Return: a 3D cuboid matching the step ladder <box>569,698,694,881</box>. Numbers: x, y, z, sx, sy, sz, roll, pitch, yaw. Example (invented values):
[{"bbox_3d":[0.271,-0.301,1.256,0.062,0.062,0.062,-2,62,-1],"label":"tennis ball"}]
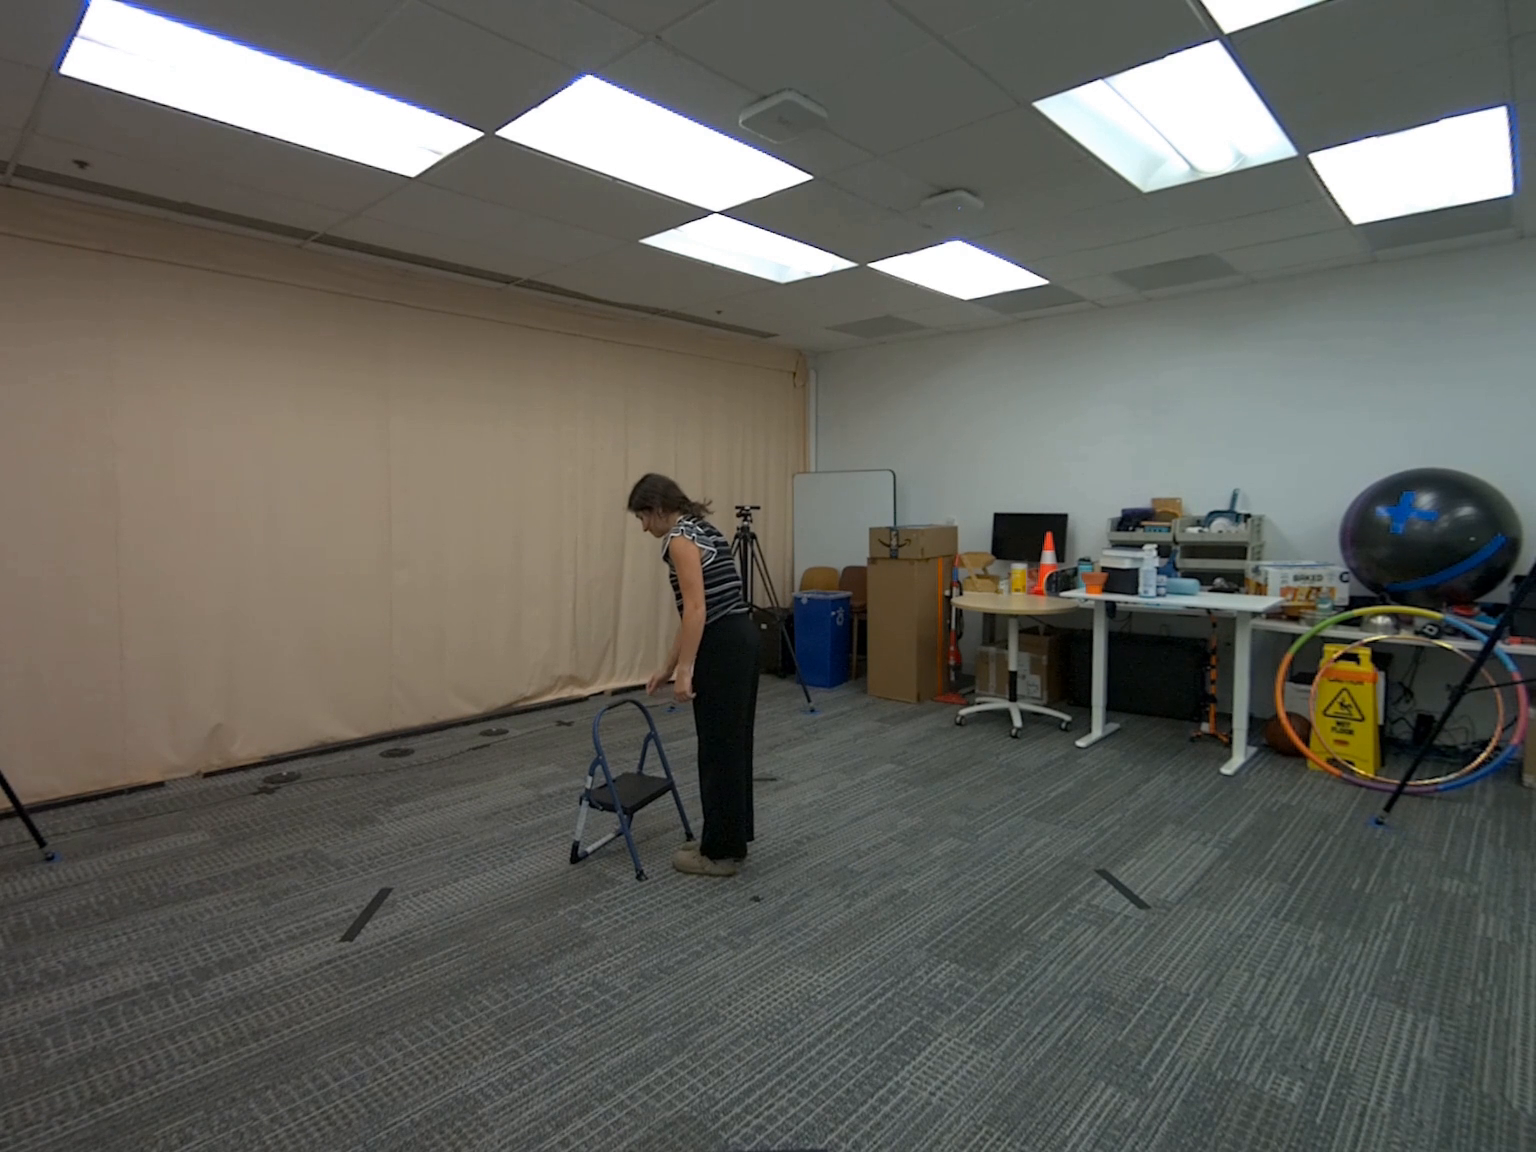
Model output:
[{"bbox_3d":[-0.543,0.815,3.387,0.358,0.605,0.421,1,3,25],"label":"step ladder"}]
